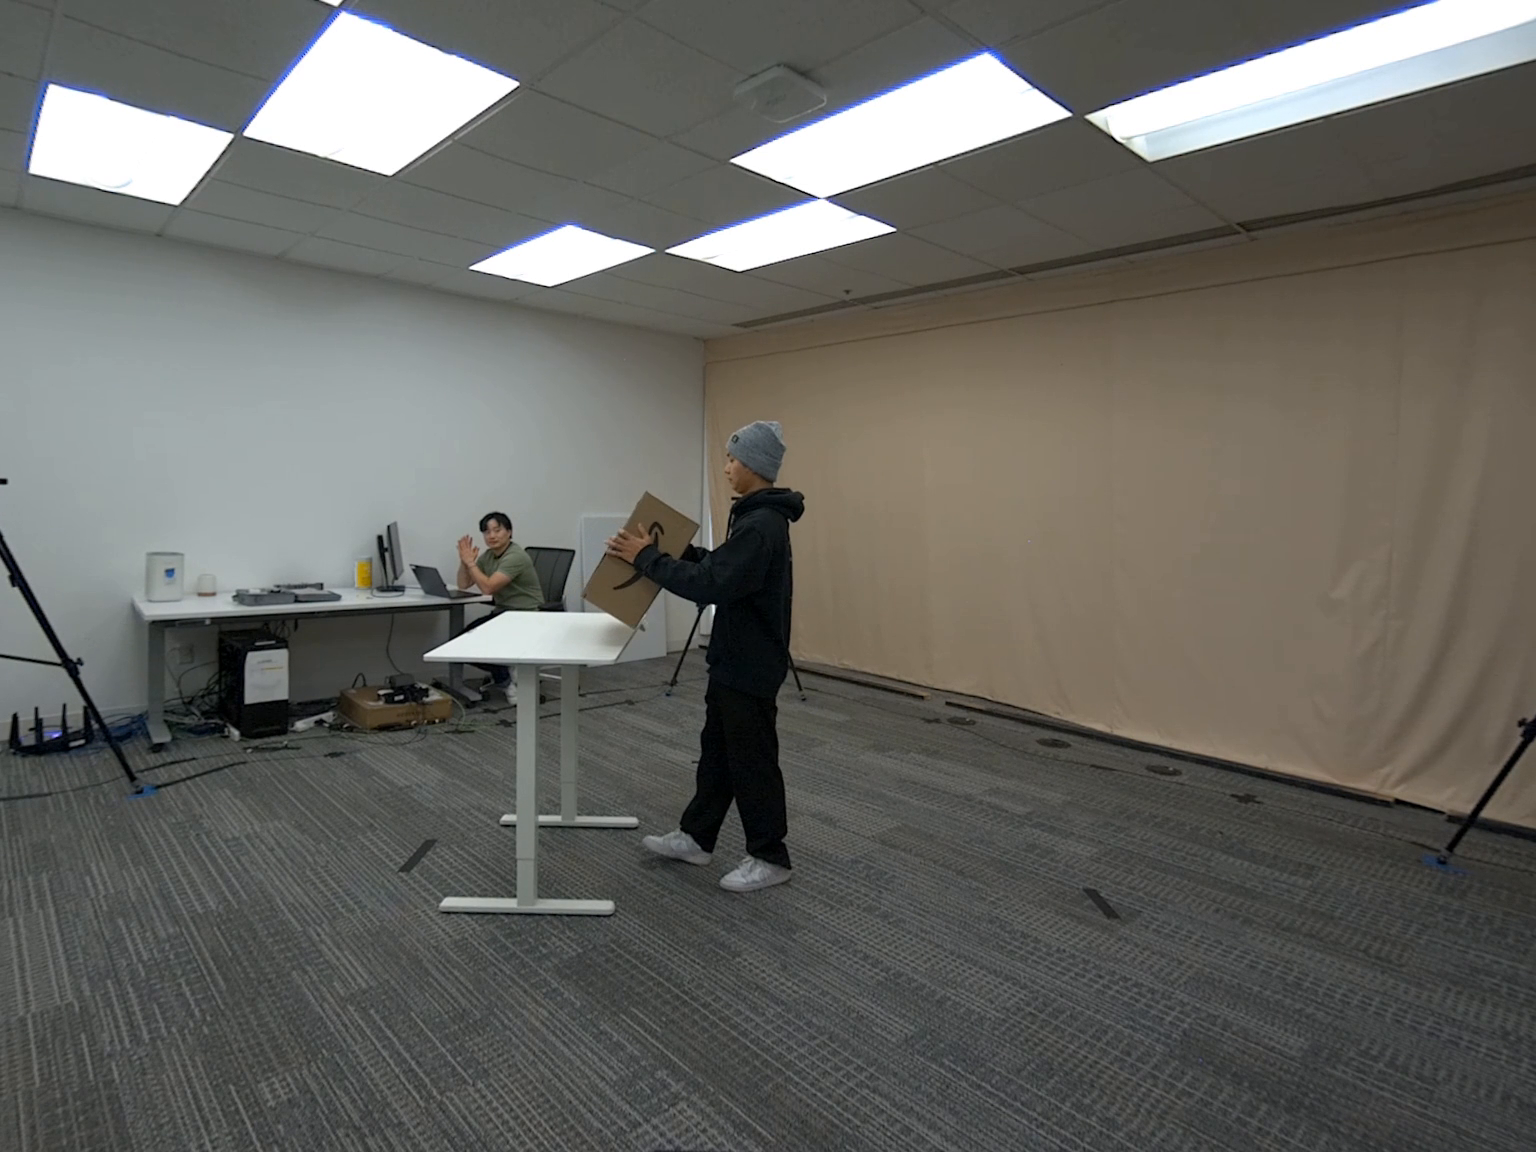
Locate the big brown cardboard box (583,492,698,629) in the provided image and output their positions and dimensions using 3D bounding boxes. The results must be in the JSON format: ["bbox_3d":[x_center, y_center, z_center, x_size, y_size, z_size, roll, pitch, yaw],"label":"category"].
[{"bbox_3d":[-0.459,-0.074,3.073,0.231,0.417,0.594,32,0,-9],"label":"big brown cardboard box"}]
